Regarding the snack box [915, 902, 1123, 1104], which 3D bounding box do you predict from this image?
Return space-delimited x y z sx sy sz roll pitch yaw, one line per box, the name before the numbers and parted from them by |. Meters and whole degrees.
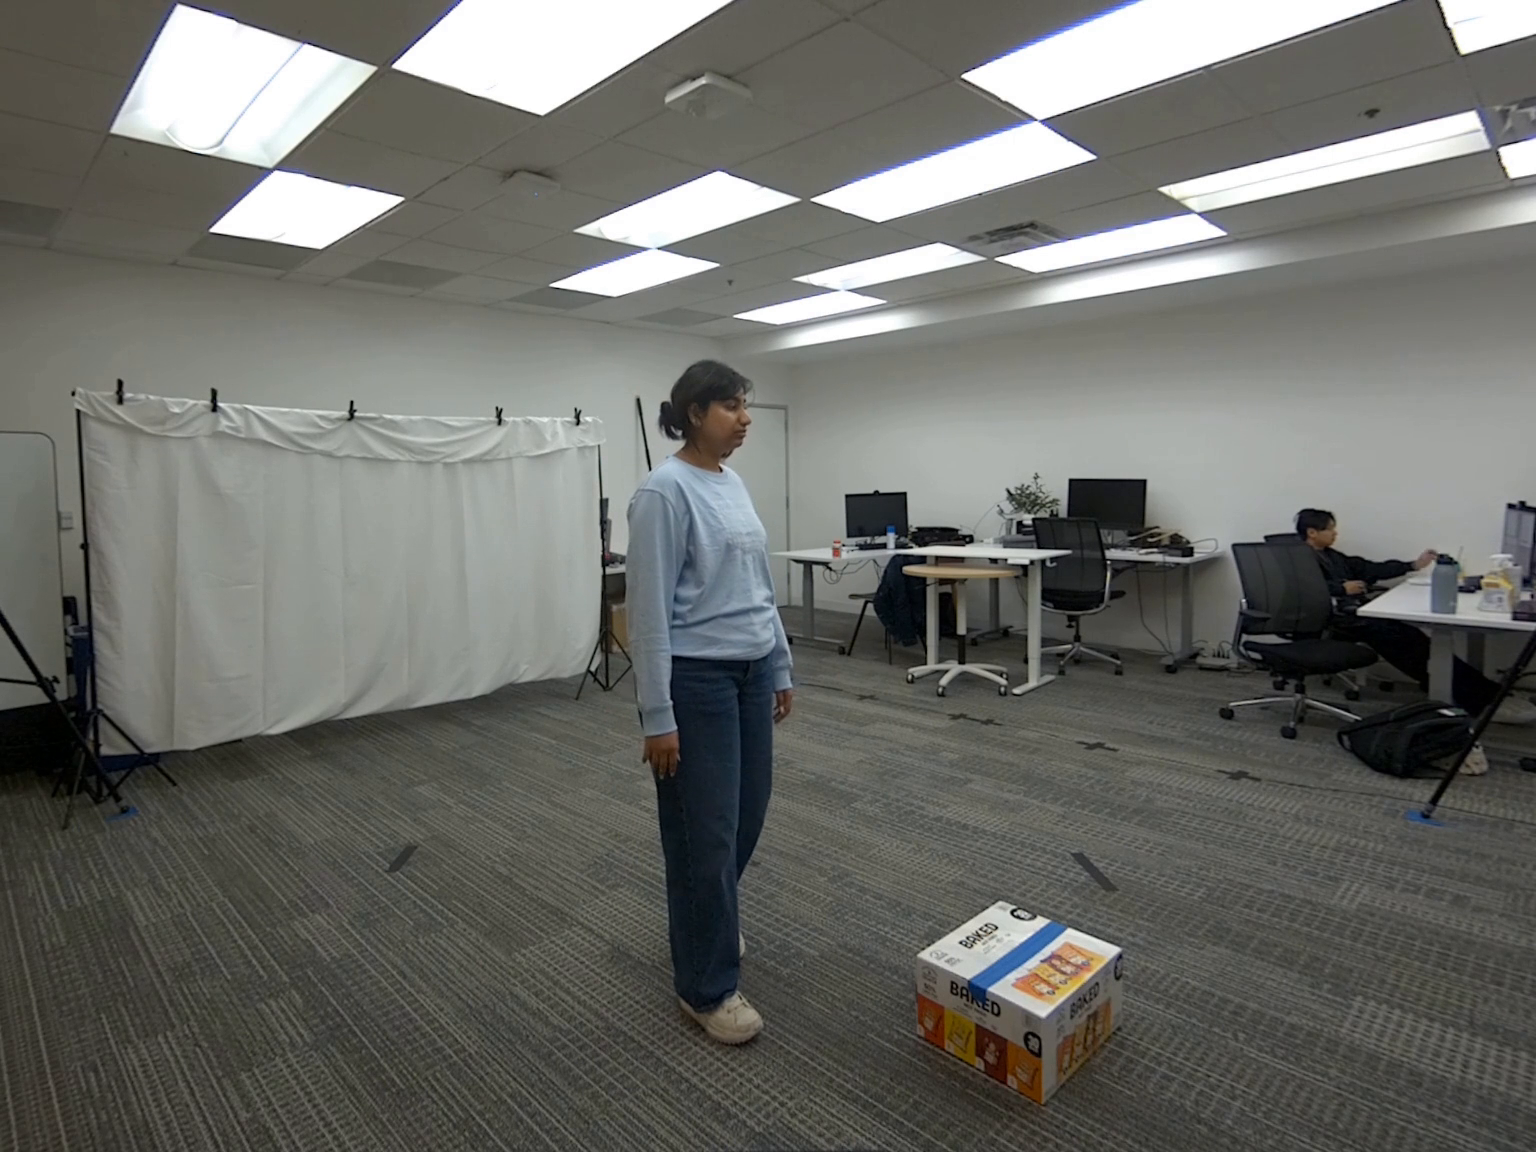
snack box | 0.636 1.040 2.143 0.395 0.204 0.351 -7 9 -43
